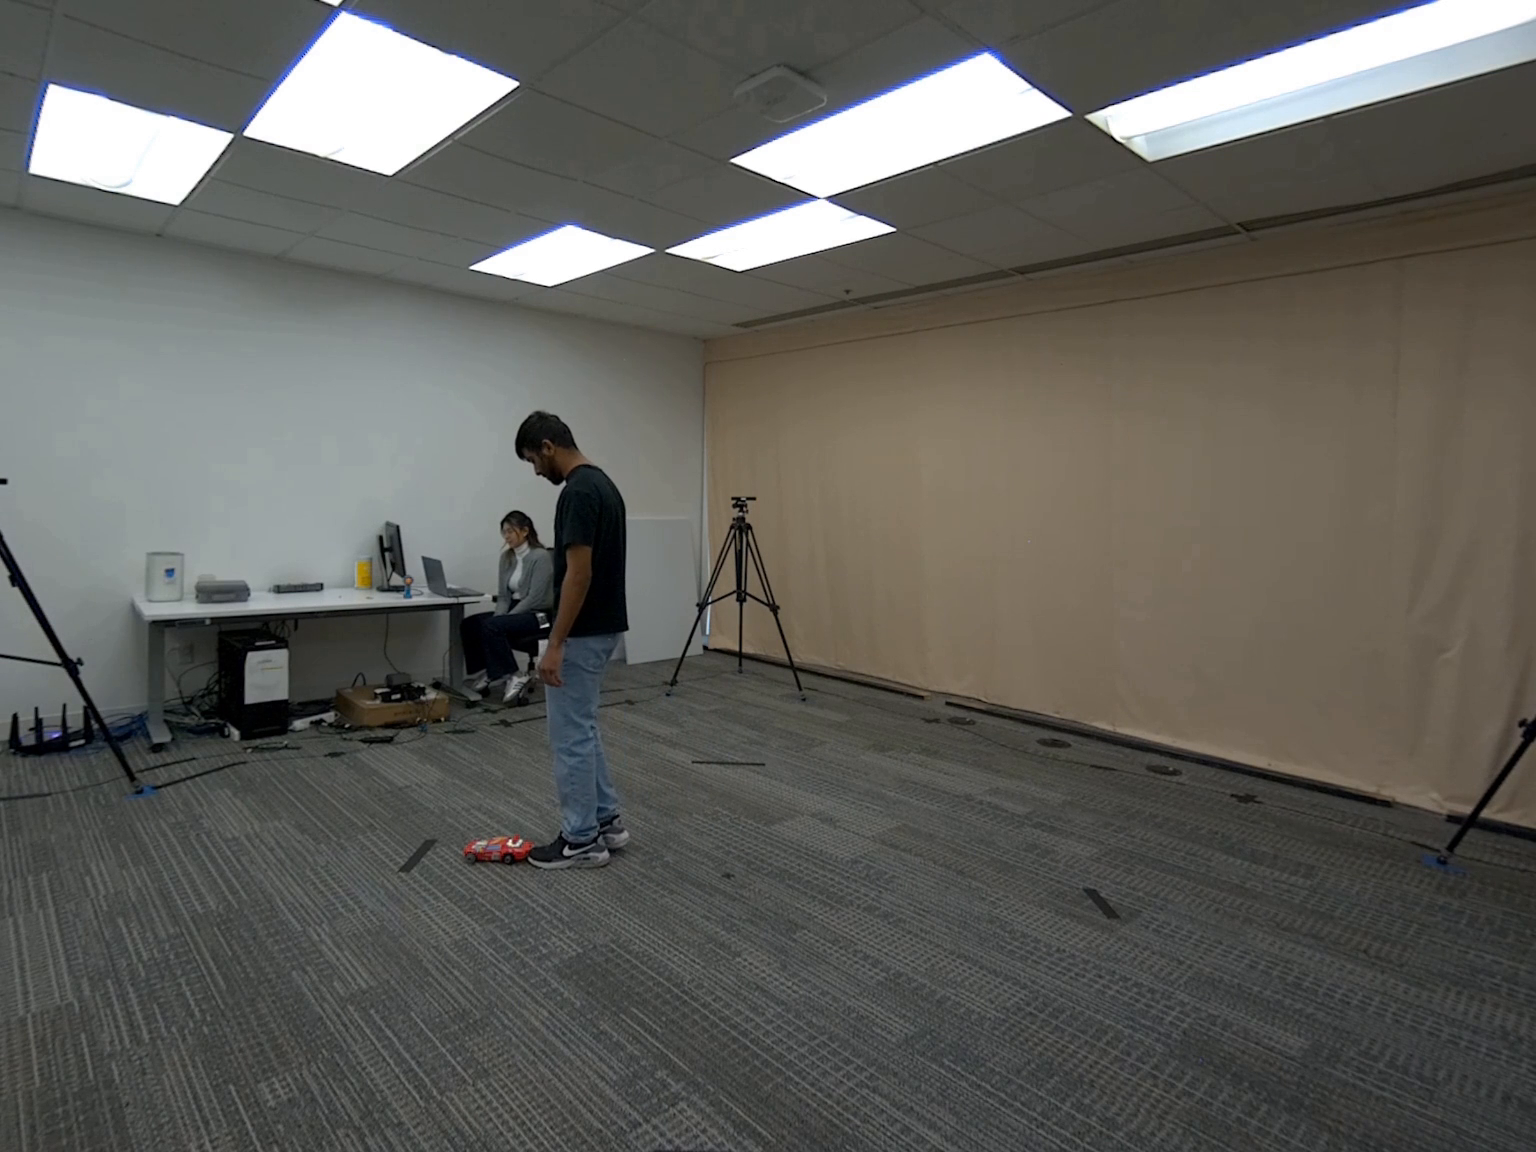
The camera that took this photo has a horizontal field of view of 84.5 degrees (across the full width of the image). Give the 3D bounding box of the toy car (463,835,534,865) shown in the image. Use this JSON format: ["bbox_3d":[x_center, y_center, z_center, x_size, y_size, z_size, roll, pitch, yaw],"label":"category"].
[{"bbox_3d":[-1.020,1.038,3.205,0.255,0.083,0.130,-10,4,5],"label":"toy car"}]
